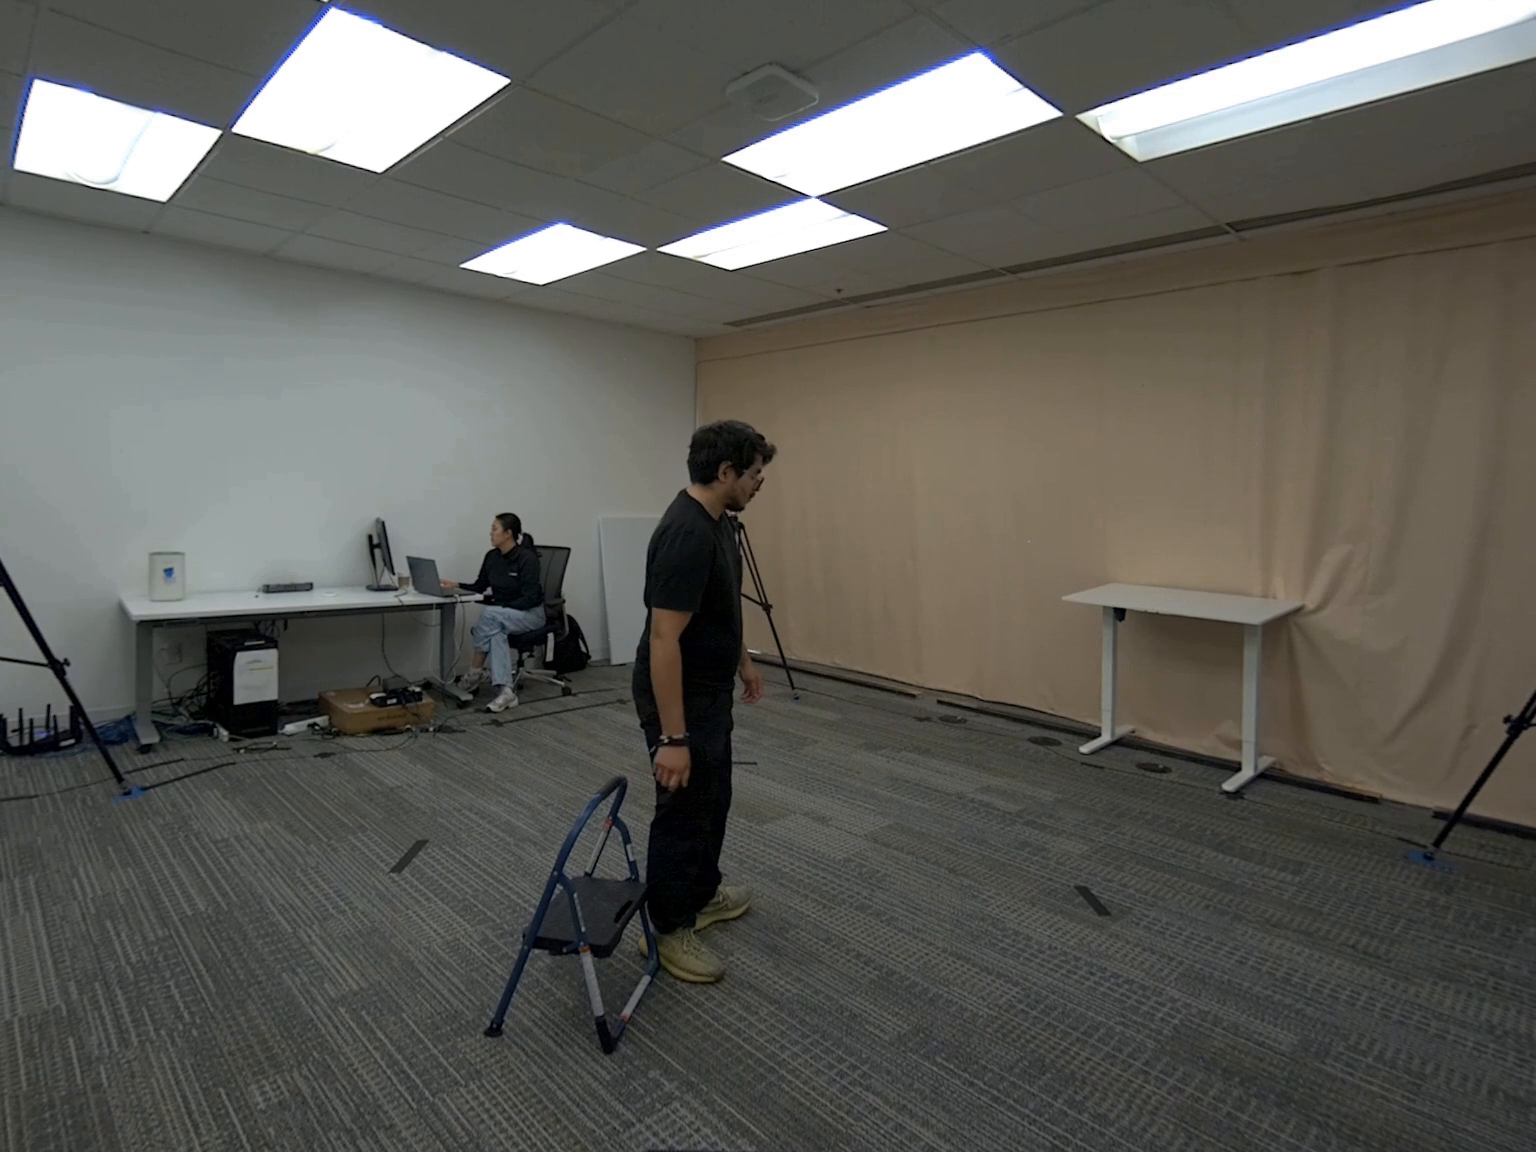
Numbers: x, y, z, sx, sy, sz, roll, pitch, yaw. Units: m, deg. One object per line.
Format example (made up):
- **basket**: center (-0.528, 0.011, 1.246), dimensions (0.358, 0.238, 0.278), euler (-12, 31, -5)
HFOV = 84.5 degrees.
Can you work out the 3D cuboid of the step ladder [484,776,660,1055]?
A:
- **step ladder**: center (-0.520, 0.871, 2.297), dimensions (0.352, 0.604, 0.428), euler (2, 4, 11)
